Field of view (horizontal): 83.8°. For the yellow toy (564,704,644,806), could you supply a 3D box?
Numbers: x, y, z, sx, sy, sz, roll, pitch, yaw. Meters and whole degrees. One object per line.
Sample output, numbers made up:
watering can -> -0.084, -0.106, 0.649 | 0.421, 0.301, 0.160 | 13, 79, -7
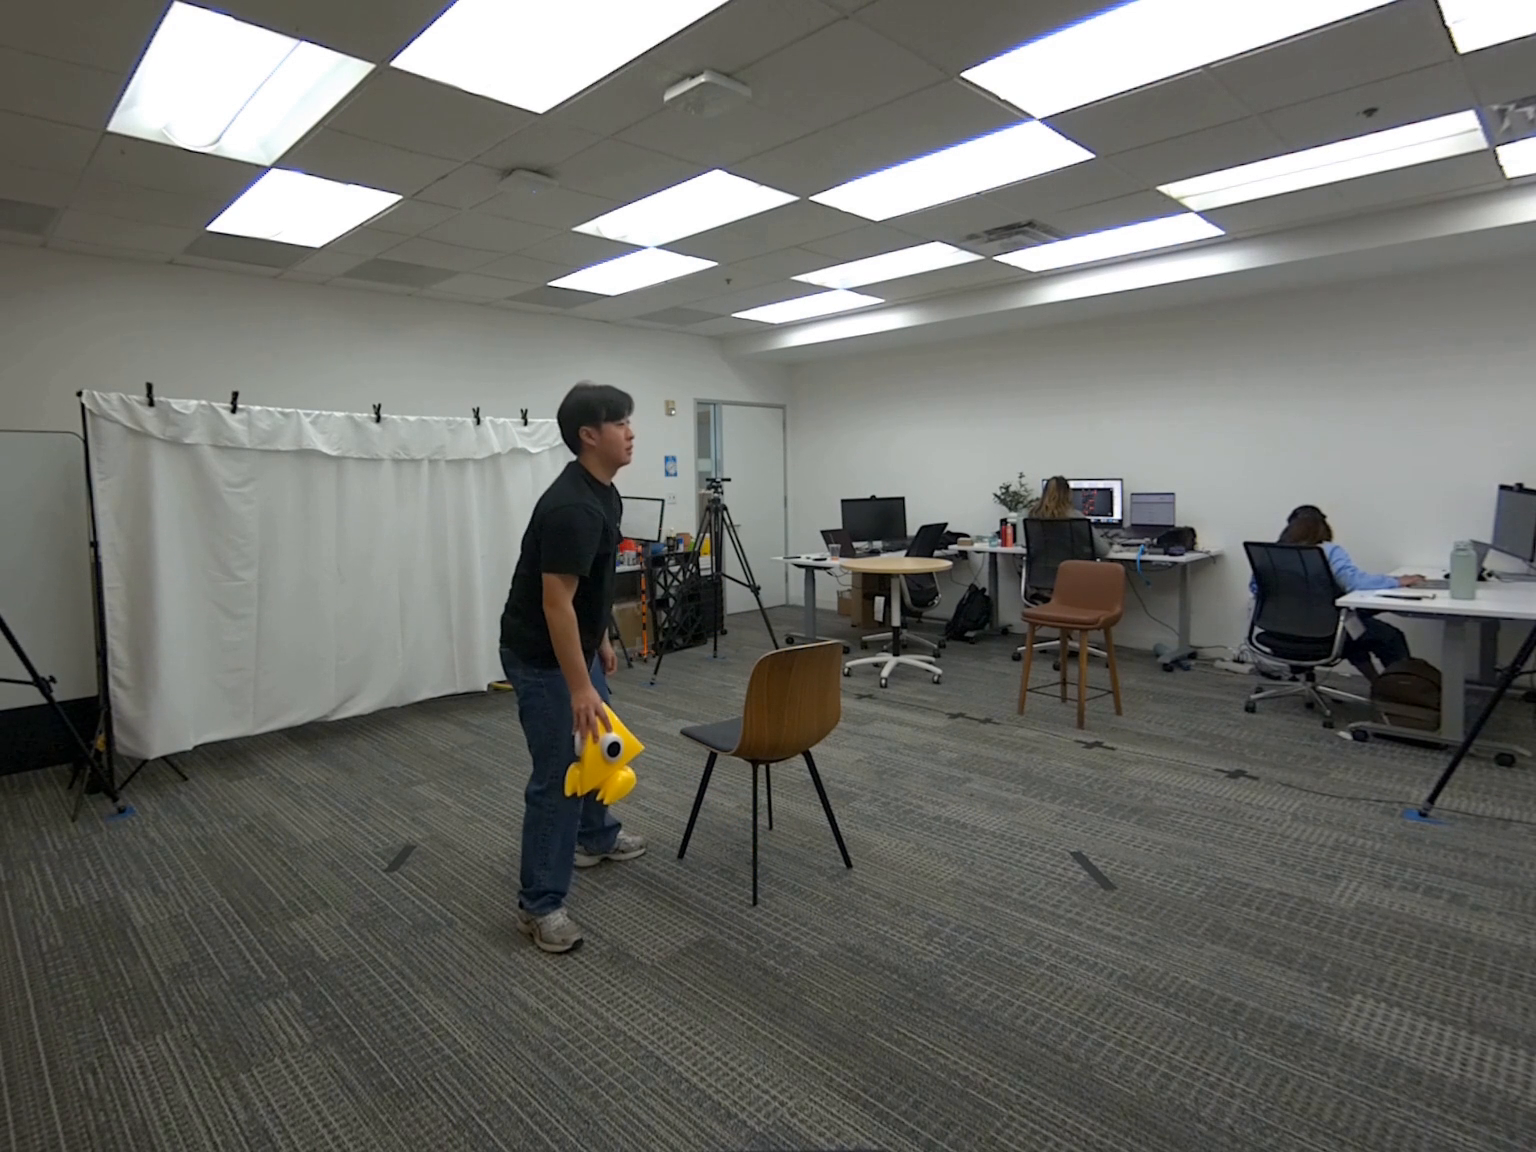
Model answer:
yellow toy -> -0.488, 0.501, 2.459 | 0.209, 0.227, 0.192 | 4, 20, 23
